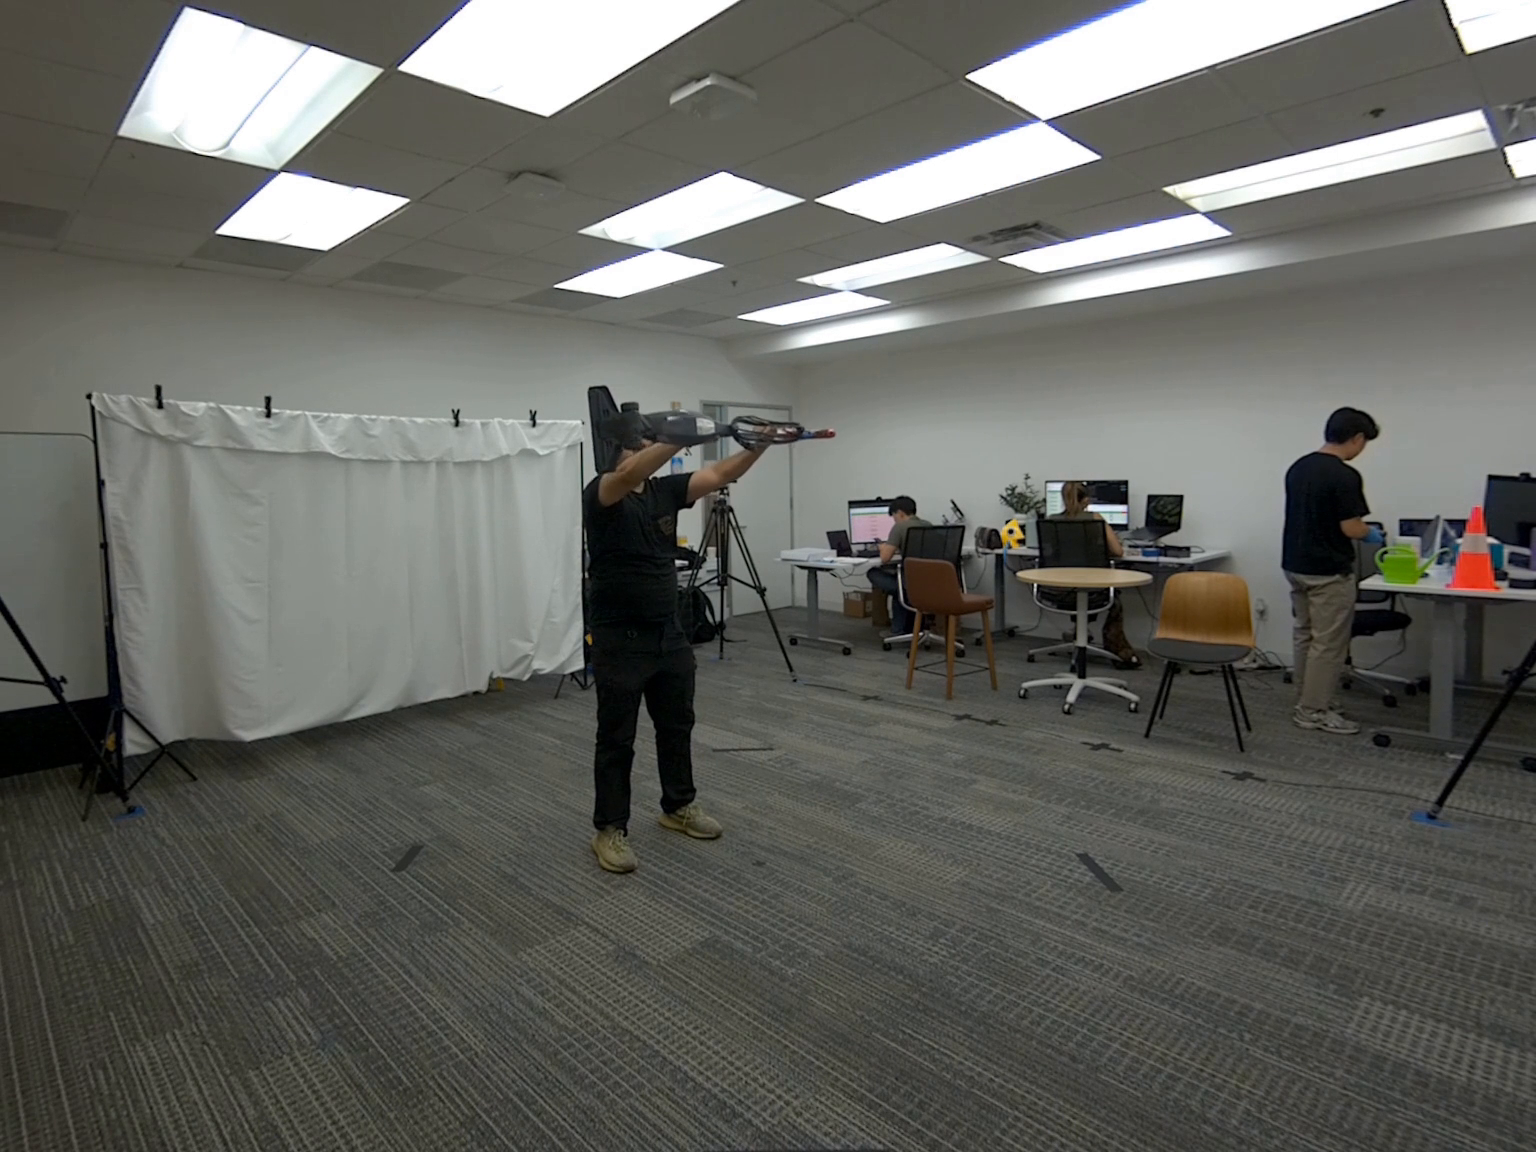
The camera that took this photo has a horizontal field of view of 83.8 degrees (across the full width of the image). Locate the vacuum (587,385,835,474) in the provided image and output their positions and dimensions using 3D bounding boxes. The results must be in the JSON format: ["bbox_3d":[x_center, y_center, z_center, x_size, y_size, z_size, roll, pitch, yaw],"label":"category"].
[{"bbox_3d":[-0.103,-0.476,2.819,0.147,0.253,1.023,-11,-1,42],"label":"vacuum"}]
